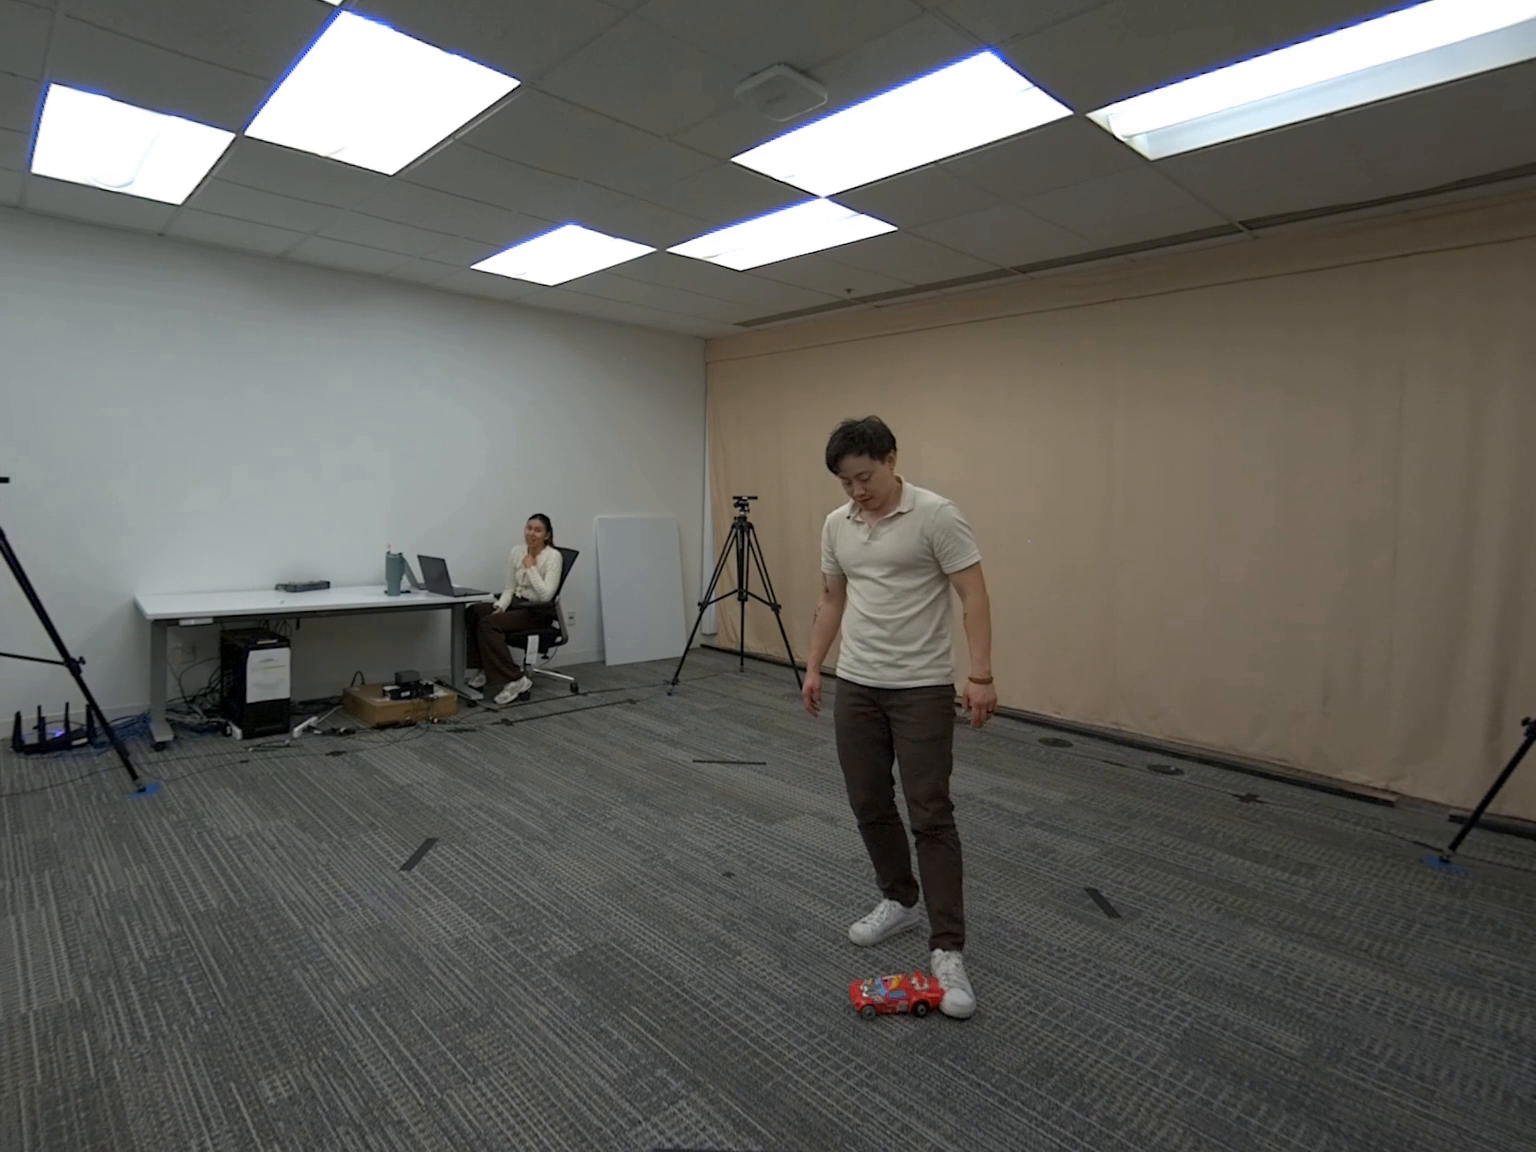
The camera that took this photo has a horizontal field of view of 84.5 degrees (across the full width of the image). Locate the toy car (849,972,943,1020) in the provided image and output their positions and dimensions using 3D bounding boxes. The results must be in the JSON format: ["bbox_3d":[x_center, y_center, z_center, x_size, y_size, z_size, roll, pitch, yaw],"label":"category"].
[{"bbox_3d":[0.350,1.159,2.316,0.254,0.083,0.131,-10,6,-4],"label":"toy car"}]
